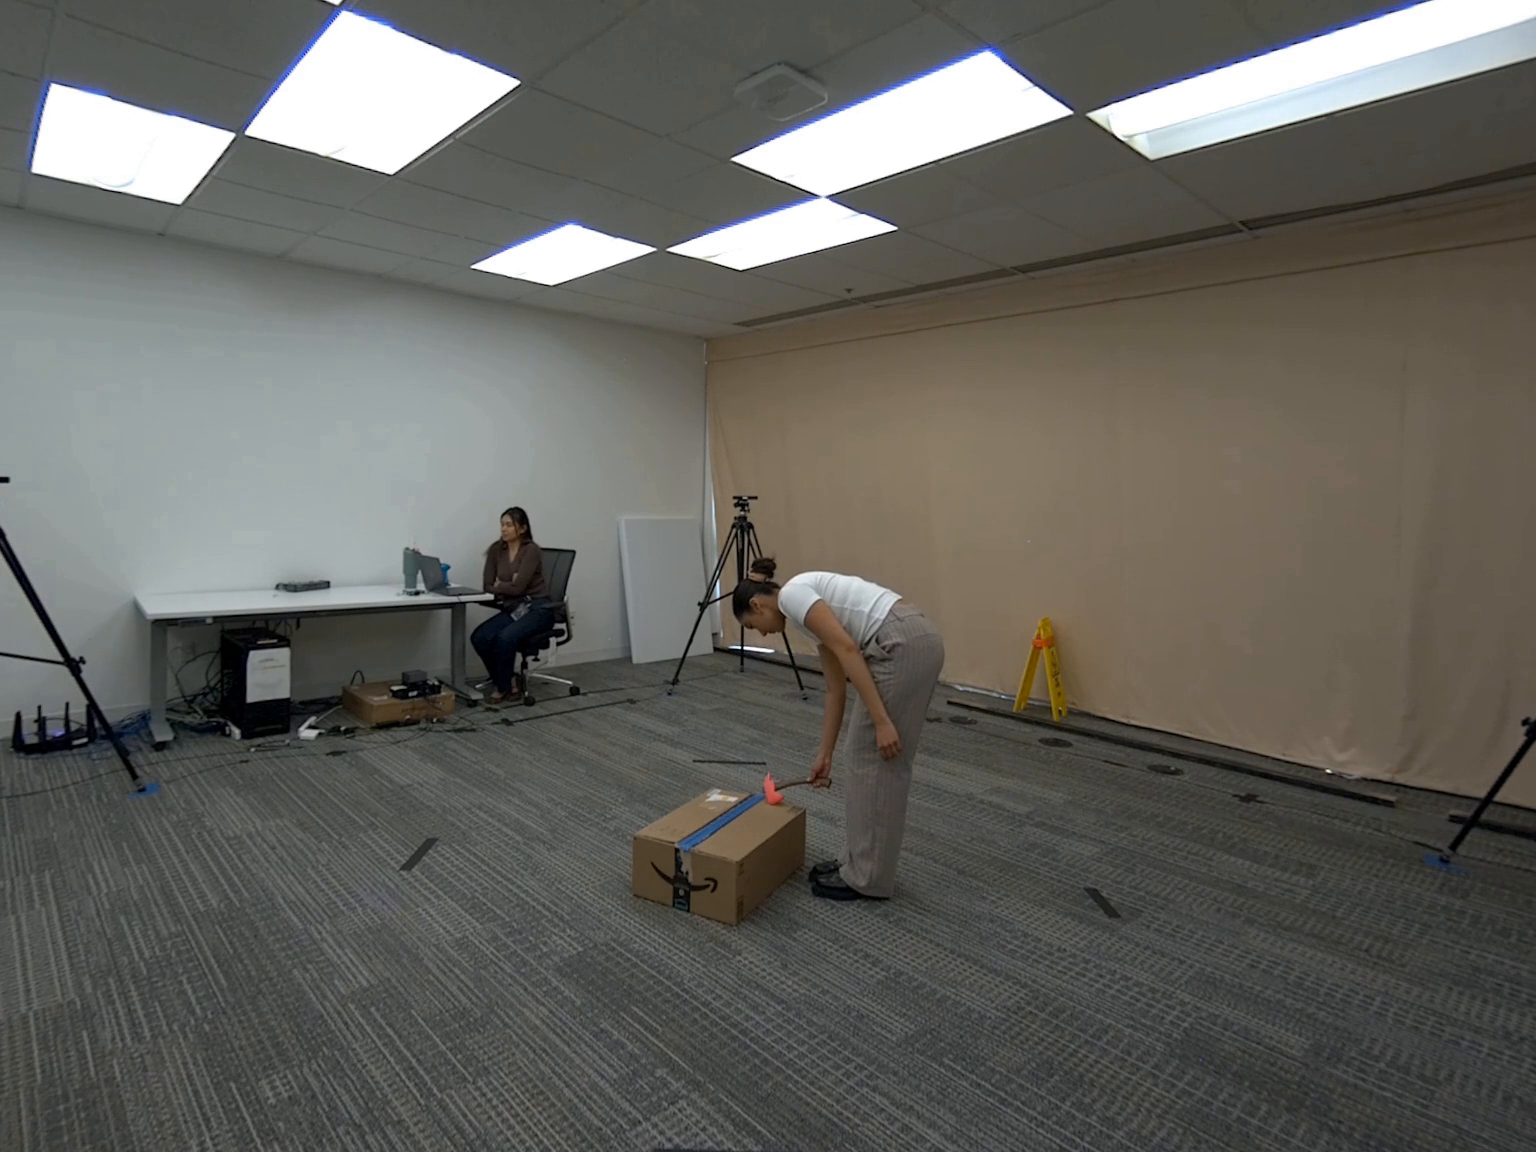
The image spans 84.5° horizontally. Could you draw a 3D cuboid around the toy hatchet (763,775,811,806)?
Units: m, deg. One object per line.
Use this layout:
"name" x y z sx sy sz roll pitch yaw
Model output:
"toy hatchet" 0.094 0.825 3.207 0.275 0.029 0.132 0 45 24
